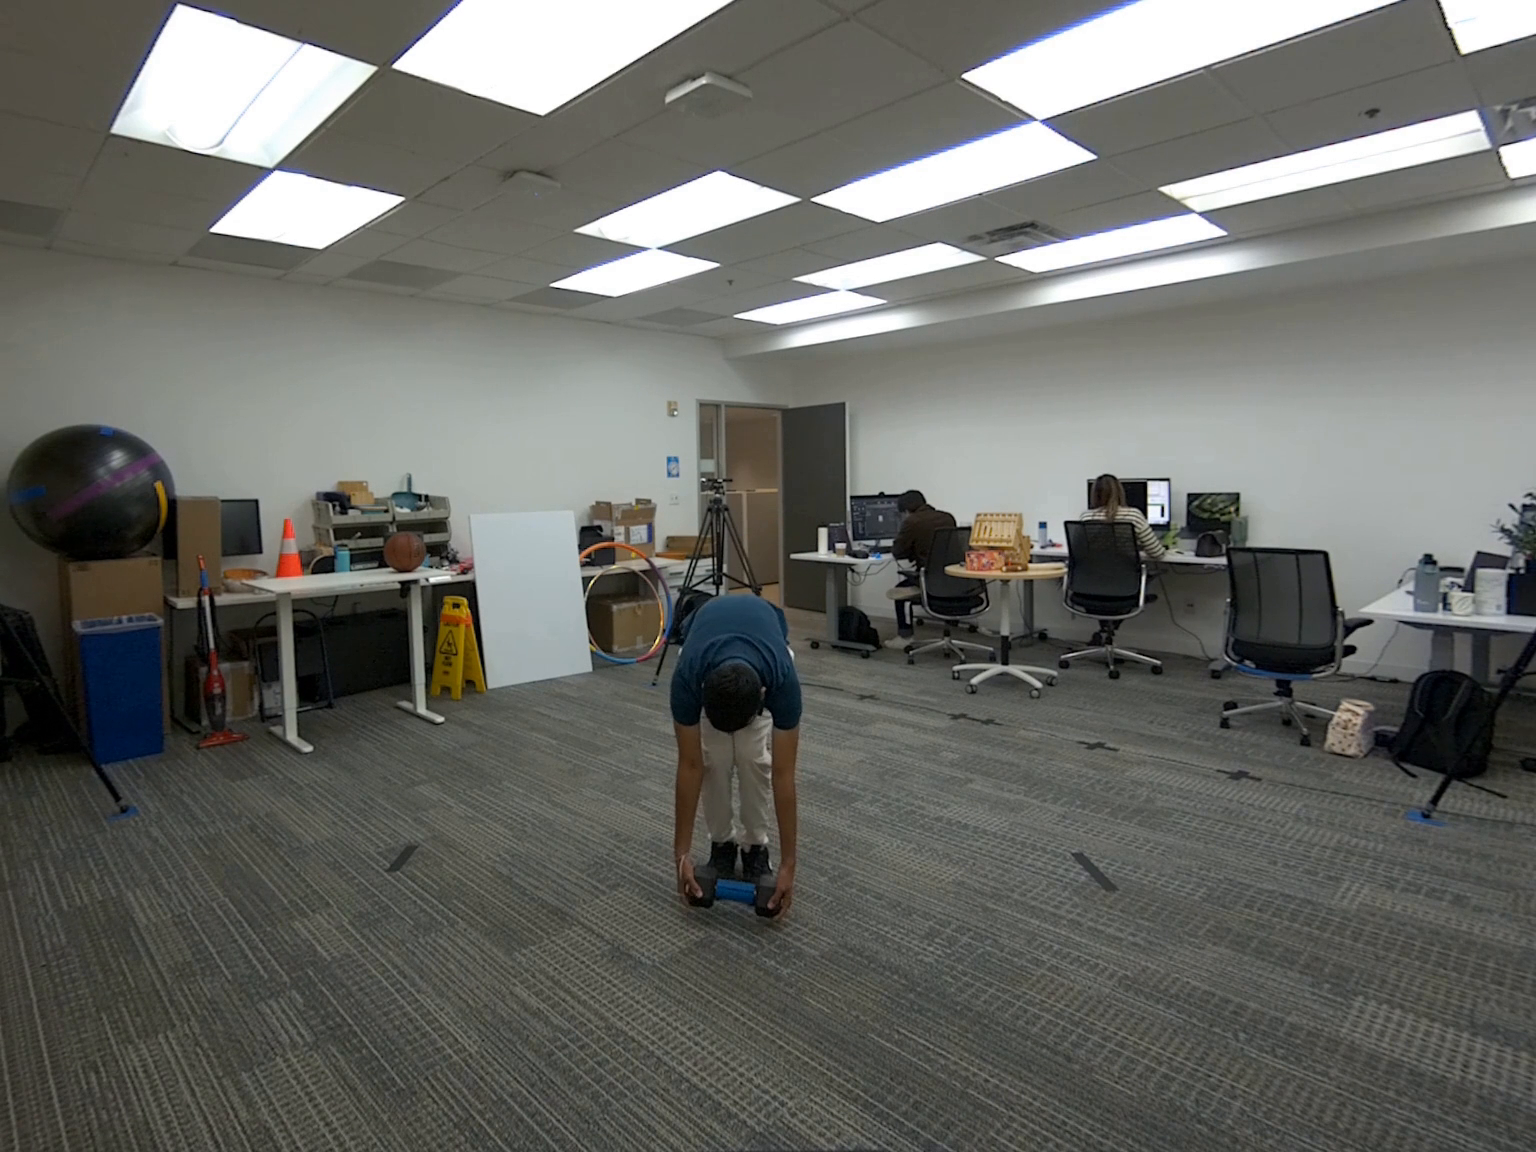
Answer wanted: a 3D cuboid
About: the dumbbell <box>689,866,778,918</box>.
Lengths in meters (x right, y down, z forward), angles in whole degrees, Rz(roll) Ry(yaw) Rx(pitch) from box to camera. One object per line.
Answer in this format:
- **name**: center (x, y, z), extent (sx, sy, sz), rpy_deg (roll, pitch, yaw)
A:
- **dumbbell**: center (-0.113, 0.989, 2.720), extent (0.297, 0.119, 0.110), rpy_deg (4, 39, 10)
